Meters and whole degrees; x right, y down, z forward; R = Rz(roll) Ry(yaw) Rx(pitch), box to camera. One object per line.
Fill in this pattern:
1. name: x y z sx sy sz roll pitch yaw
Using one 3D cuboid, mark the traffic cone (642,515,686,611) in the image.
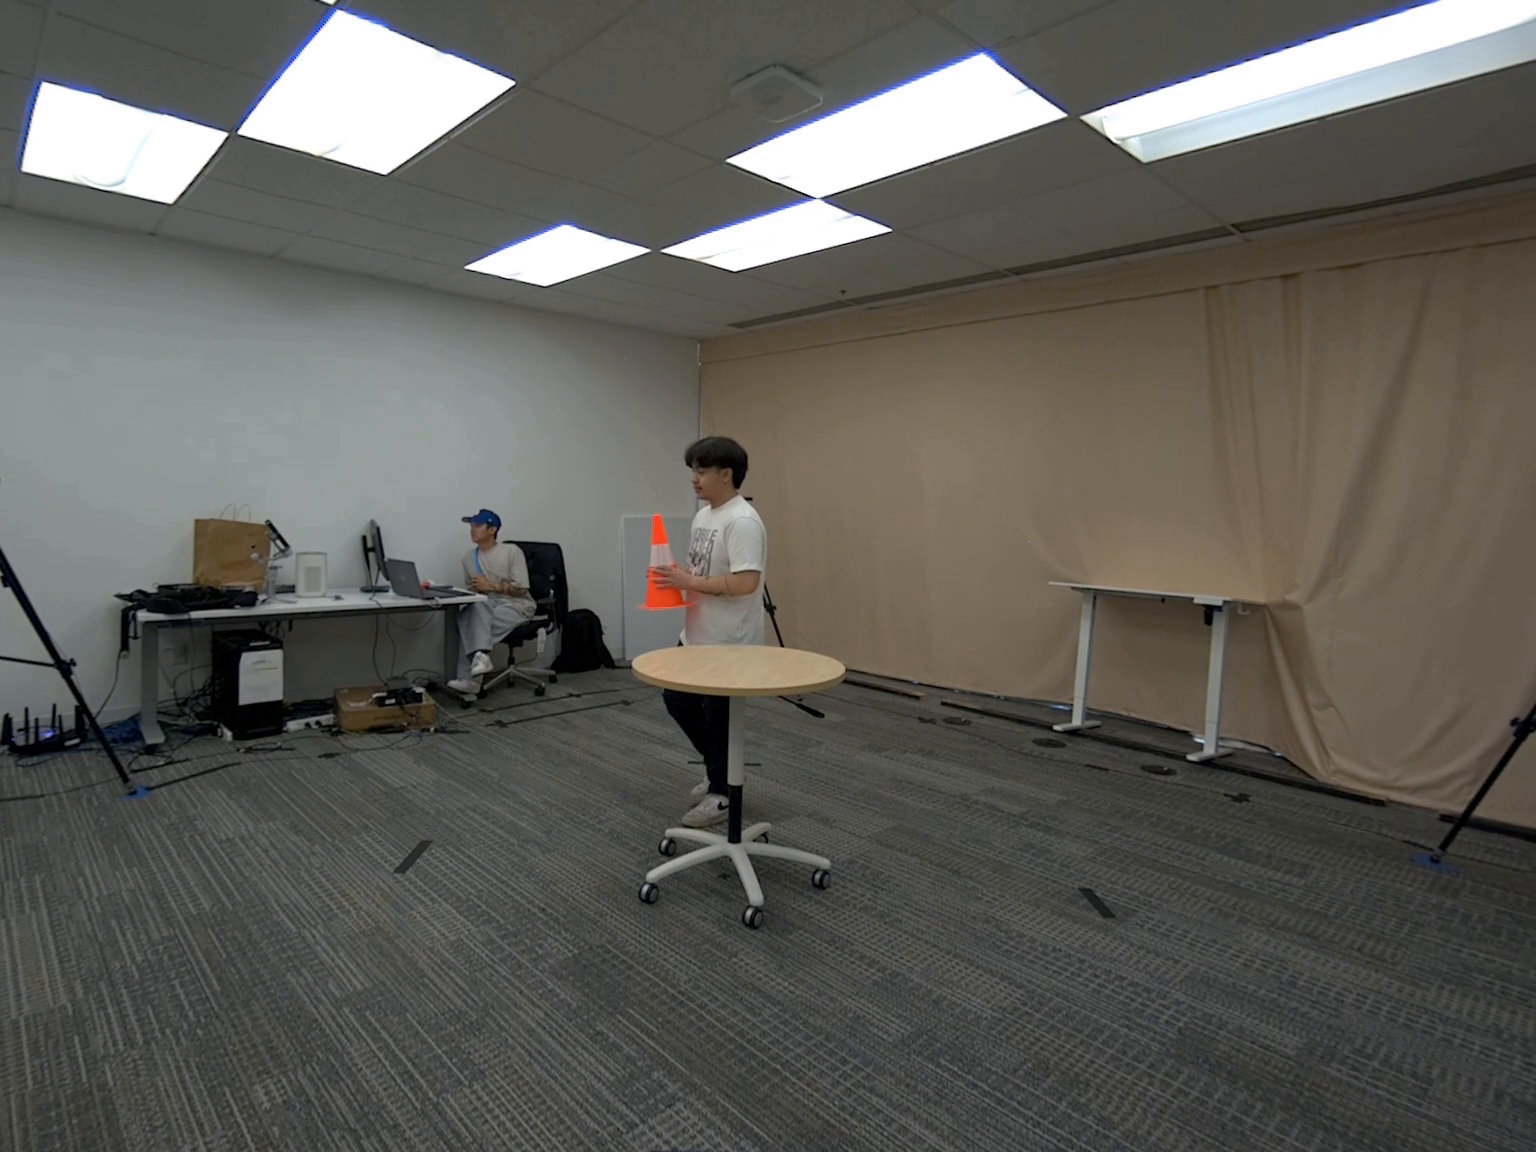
1. traffic cone: -0.452 -0.066 3.518 0.210 0.382 0.199 -1 7 43
